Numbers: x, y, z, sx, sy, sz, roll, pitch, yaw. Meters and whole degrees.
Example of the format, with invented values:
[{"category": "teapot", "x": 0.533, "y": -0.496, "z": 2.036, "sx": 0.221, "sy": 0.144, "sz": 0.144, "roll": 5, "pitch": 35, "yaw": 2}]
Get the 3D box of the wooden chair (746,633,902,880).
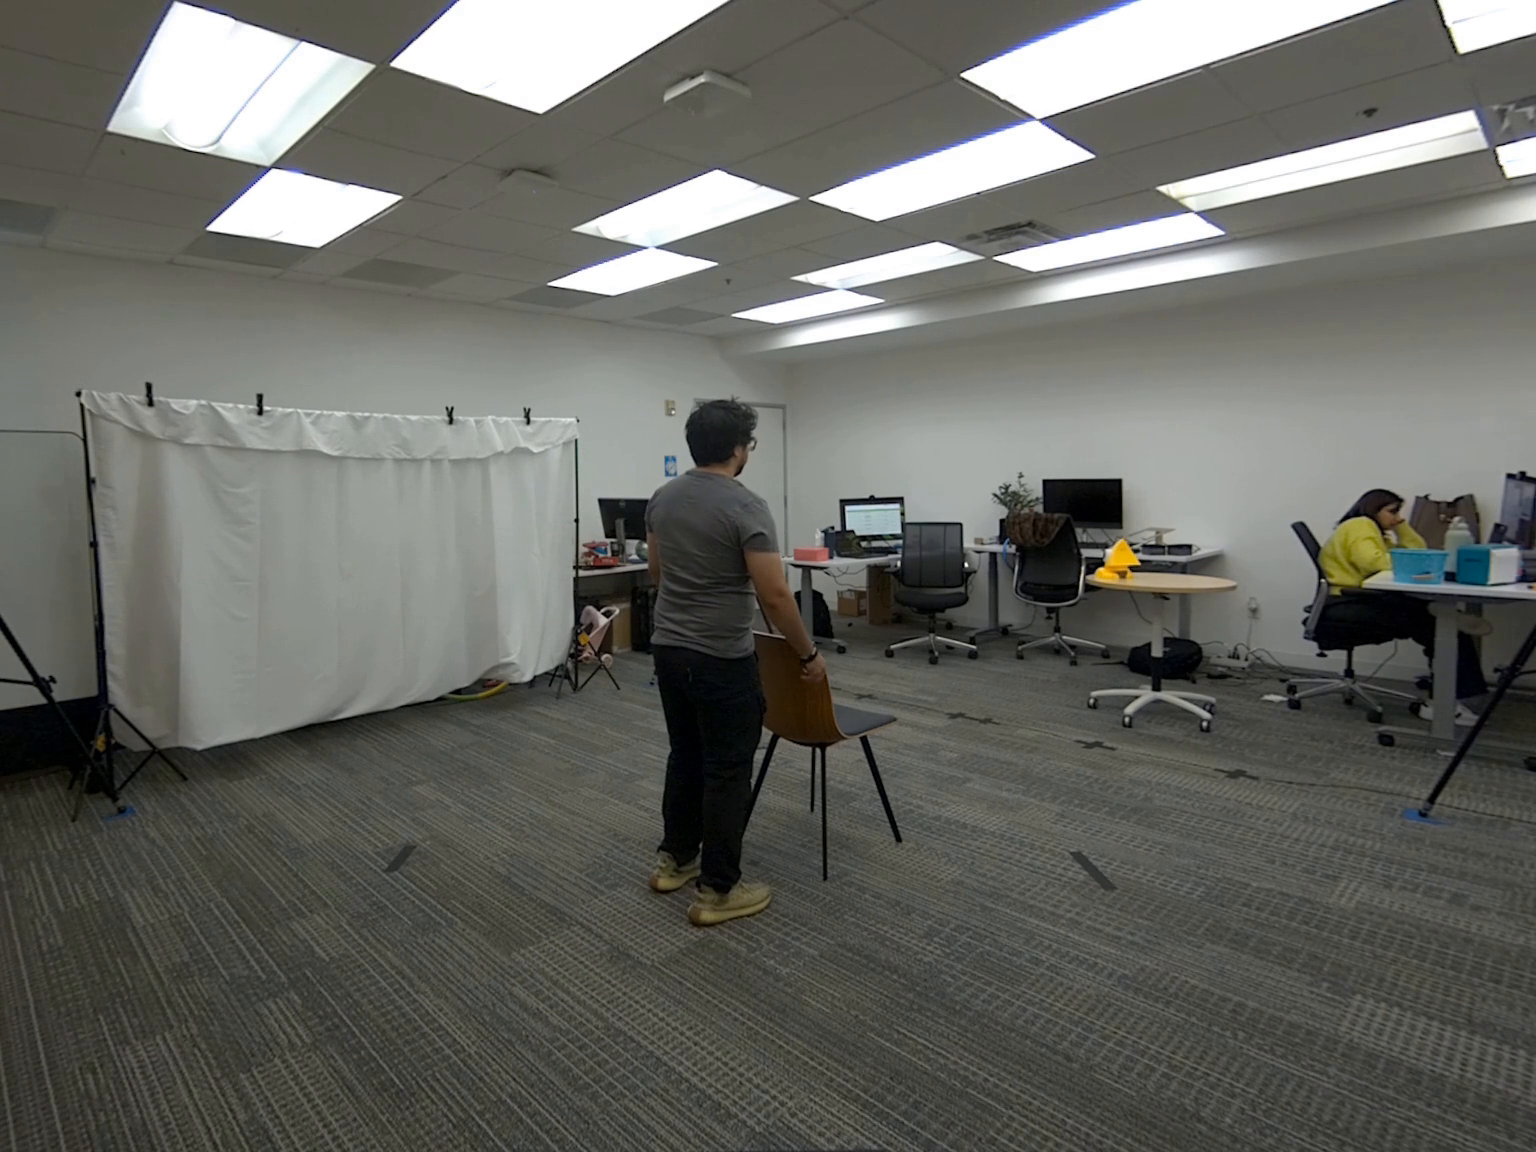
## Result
[{"category": "wooden chair", "x": 0.195, "y": 0.595, "z": 3.247, "sx": 0.511, "sy": 0.871, "sz": 0.493, "roll": -11, "pitch": 10, "yaw": -44}]
